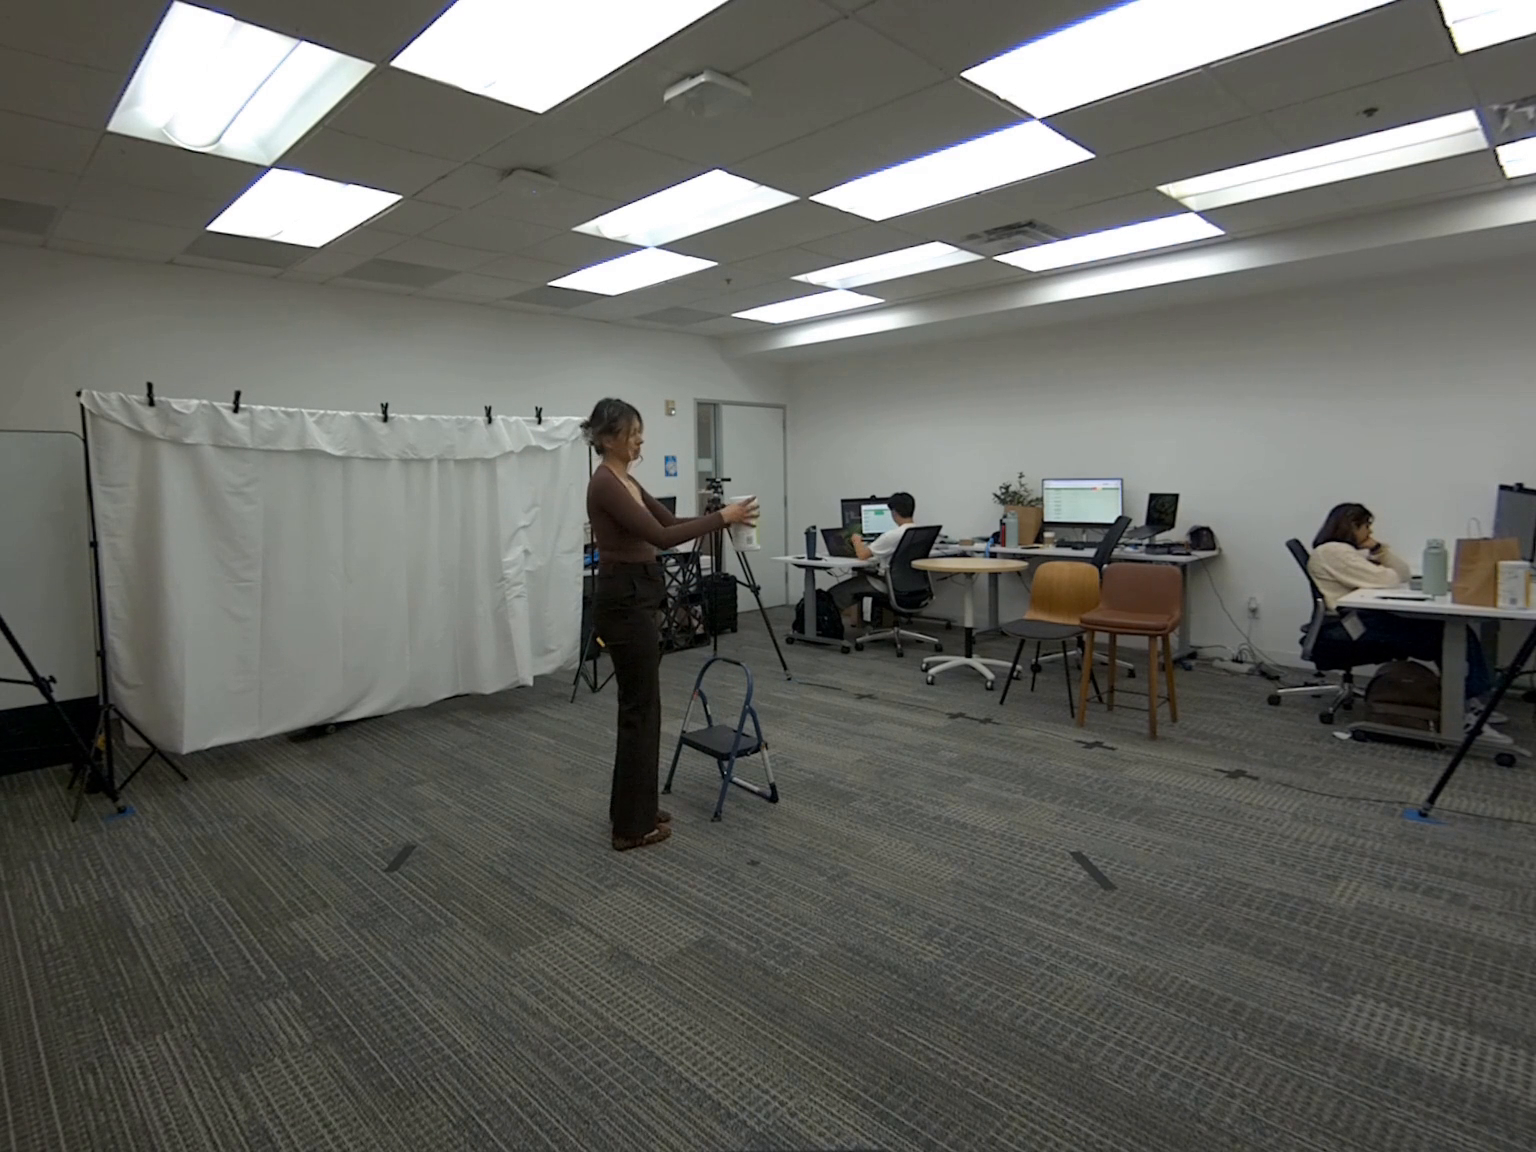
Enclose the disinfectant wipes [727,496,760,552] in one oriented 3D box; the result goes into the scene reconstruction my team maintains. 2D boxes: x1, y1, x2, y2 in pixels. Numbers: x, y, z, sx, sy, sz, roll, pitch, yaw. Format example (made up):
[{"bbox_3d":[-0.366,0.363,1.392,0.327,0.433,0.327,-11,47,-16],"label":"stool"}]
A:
[{"bbox_3d":[-0.096,-0.202,3.354,0.118,0.217,0.118,-4,3,-1],"label":"disinfectant wipes"}]
